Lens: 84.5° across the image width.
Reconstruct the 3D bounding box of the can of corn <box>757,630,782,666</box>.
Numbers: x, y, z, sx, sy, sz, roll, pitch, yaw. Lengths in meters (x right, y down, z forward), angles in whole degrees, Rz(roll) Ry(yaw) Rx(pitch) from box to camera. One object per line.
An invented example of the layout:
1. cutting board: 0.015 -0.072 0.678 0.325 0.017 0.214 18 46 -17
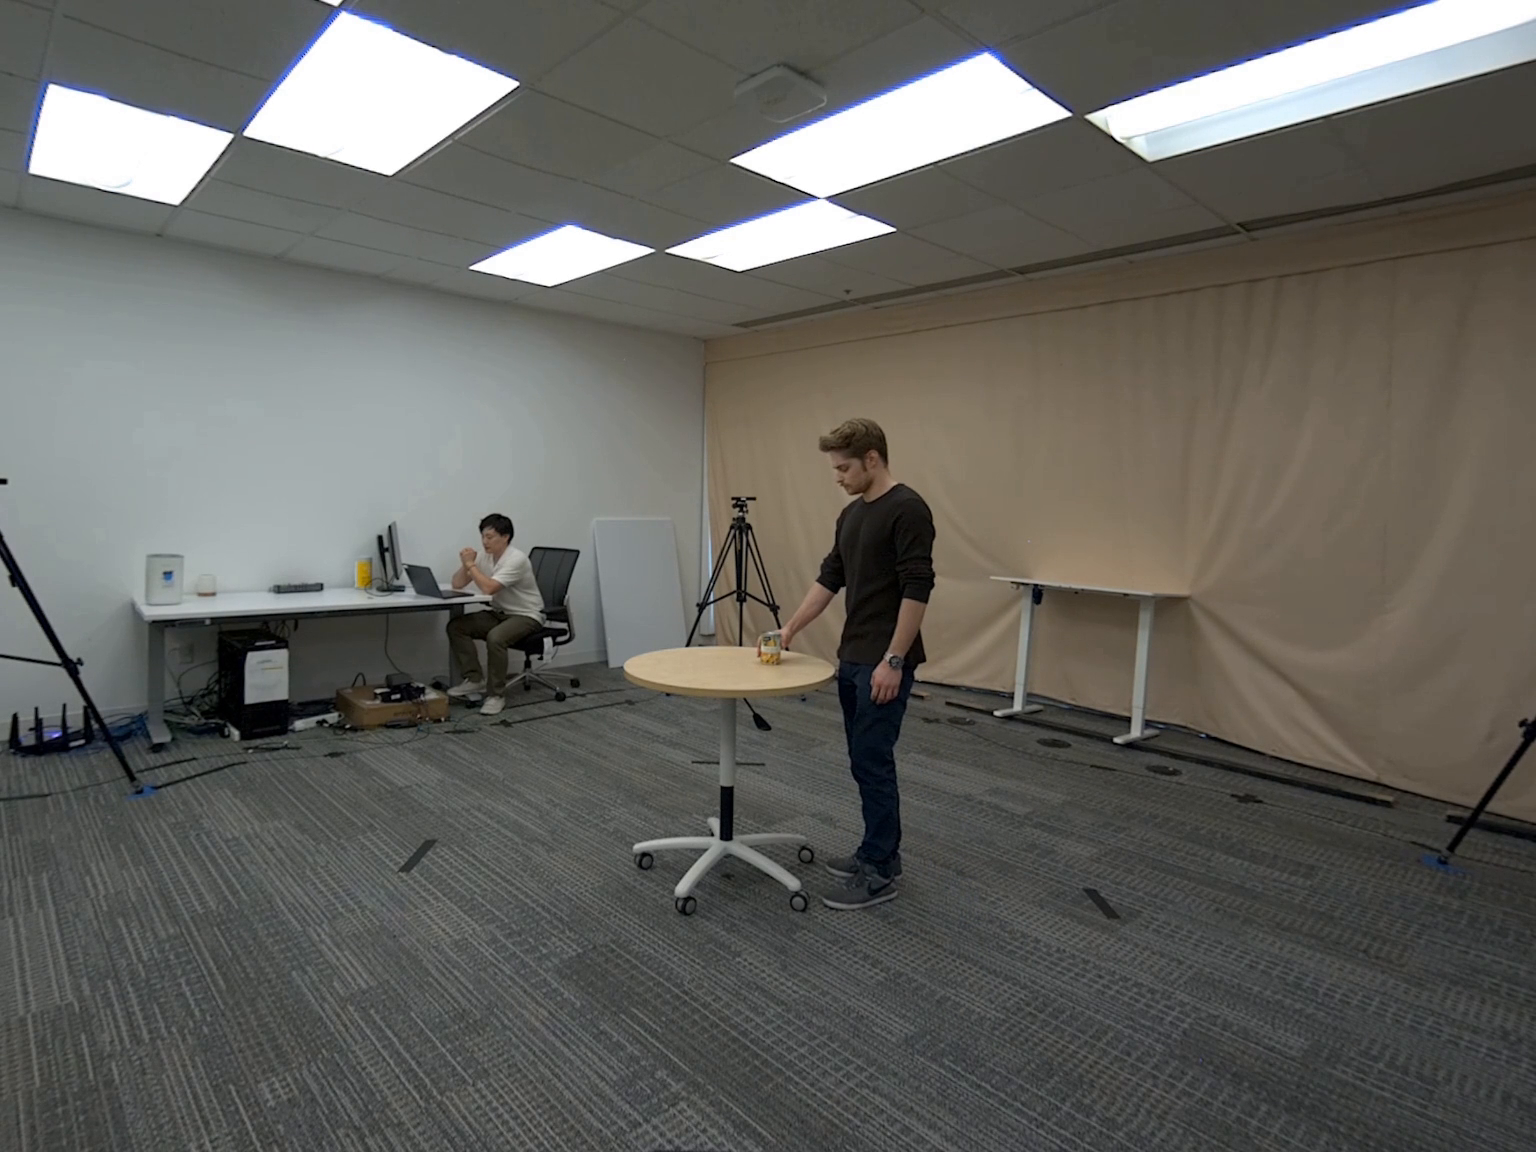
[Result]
1. can of corn: 0.001 0.270 3.119 0.074 0.111 0.074 1 -3 -1
